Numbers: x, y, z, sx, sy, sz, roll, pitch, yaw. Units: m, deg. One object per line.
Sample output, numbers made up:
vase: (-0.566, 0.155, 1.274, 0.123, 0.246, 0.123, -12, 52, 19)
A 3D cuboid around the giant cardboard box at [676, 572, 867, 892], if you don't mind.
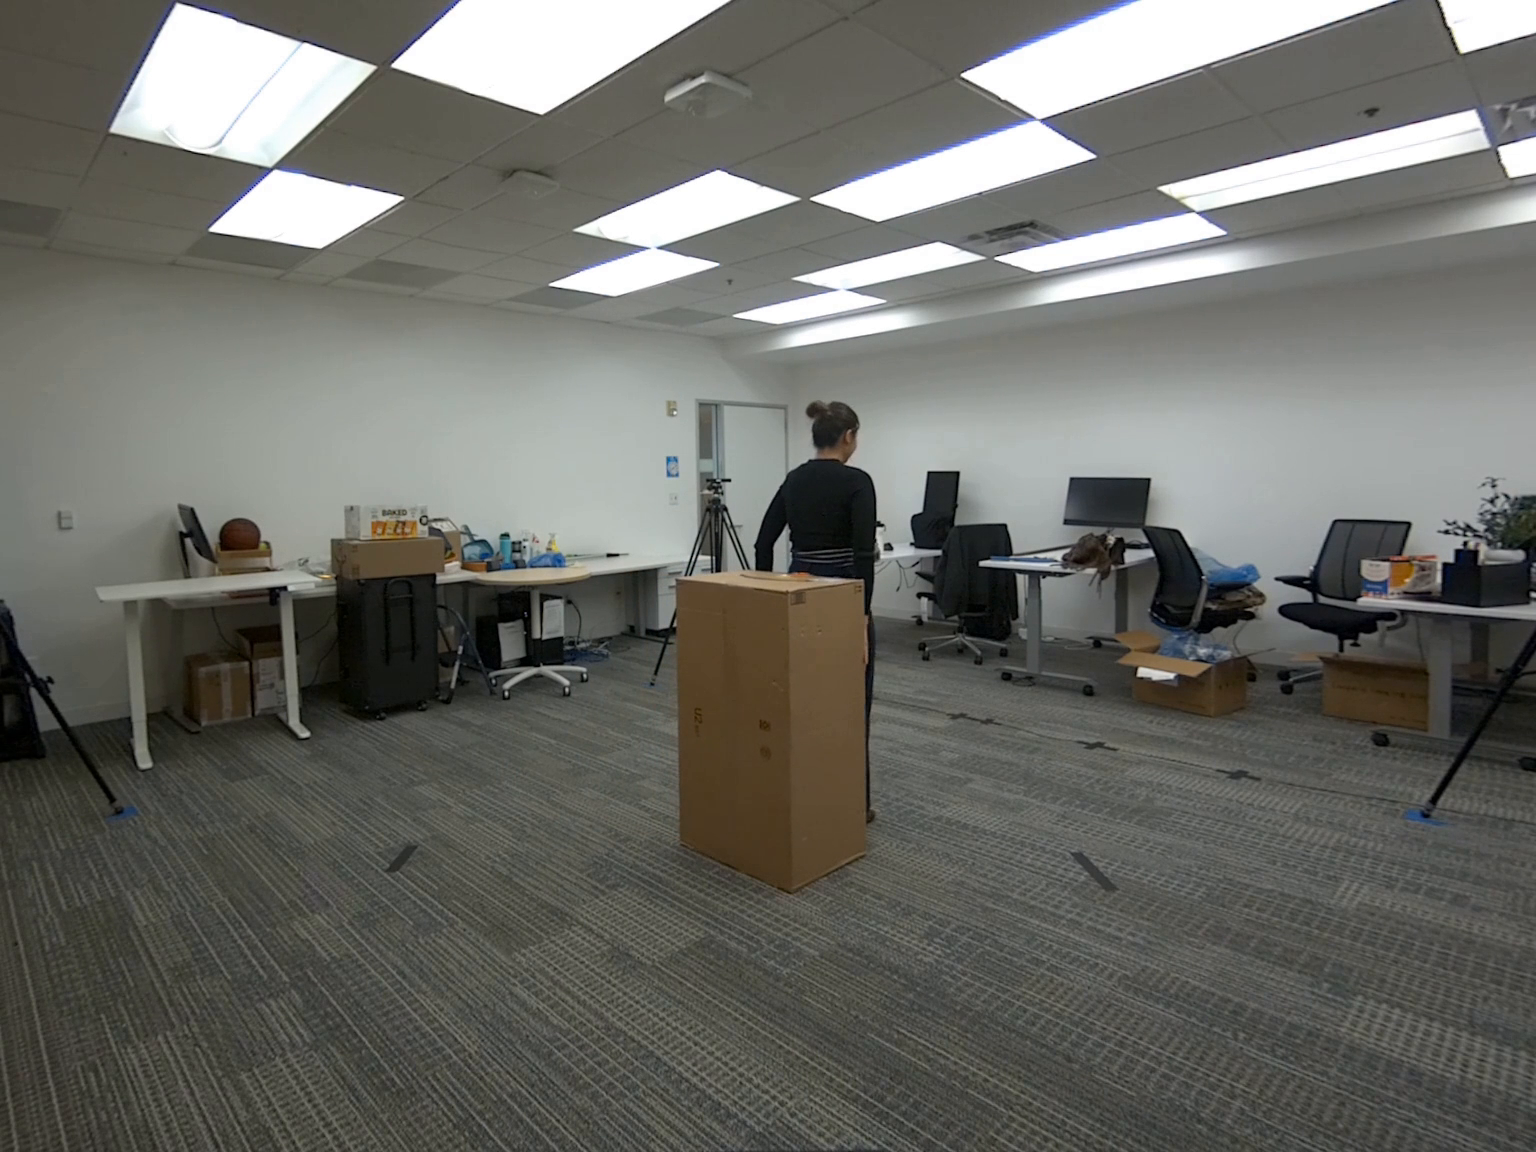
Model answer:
giant cardboard box: (0.004, 0.524, 3.187, 0.595, 1.023, 0.415, 2, 5, 45)
